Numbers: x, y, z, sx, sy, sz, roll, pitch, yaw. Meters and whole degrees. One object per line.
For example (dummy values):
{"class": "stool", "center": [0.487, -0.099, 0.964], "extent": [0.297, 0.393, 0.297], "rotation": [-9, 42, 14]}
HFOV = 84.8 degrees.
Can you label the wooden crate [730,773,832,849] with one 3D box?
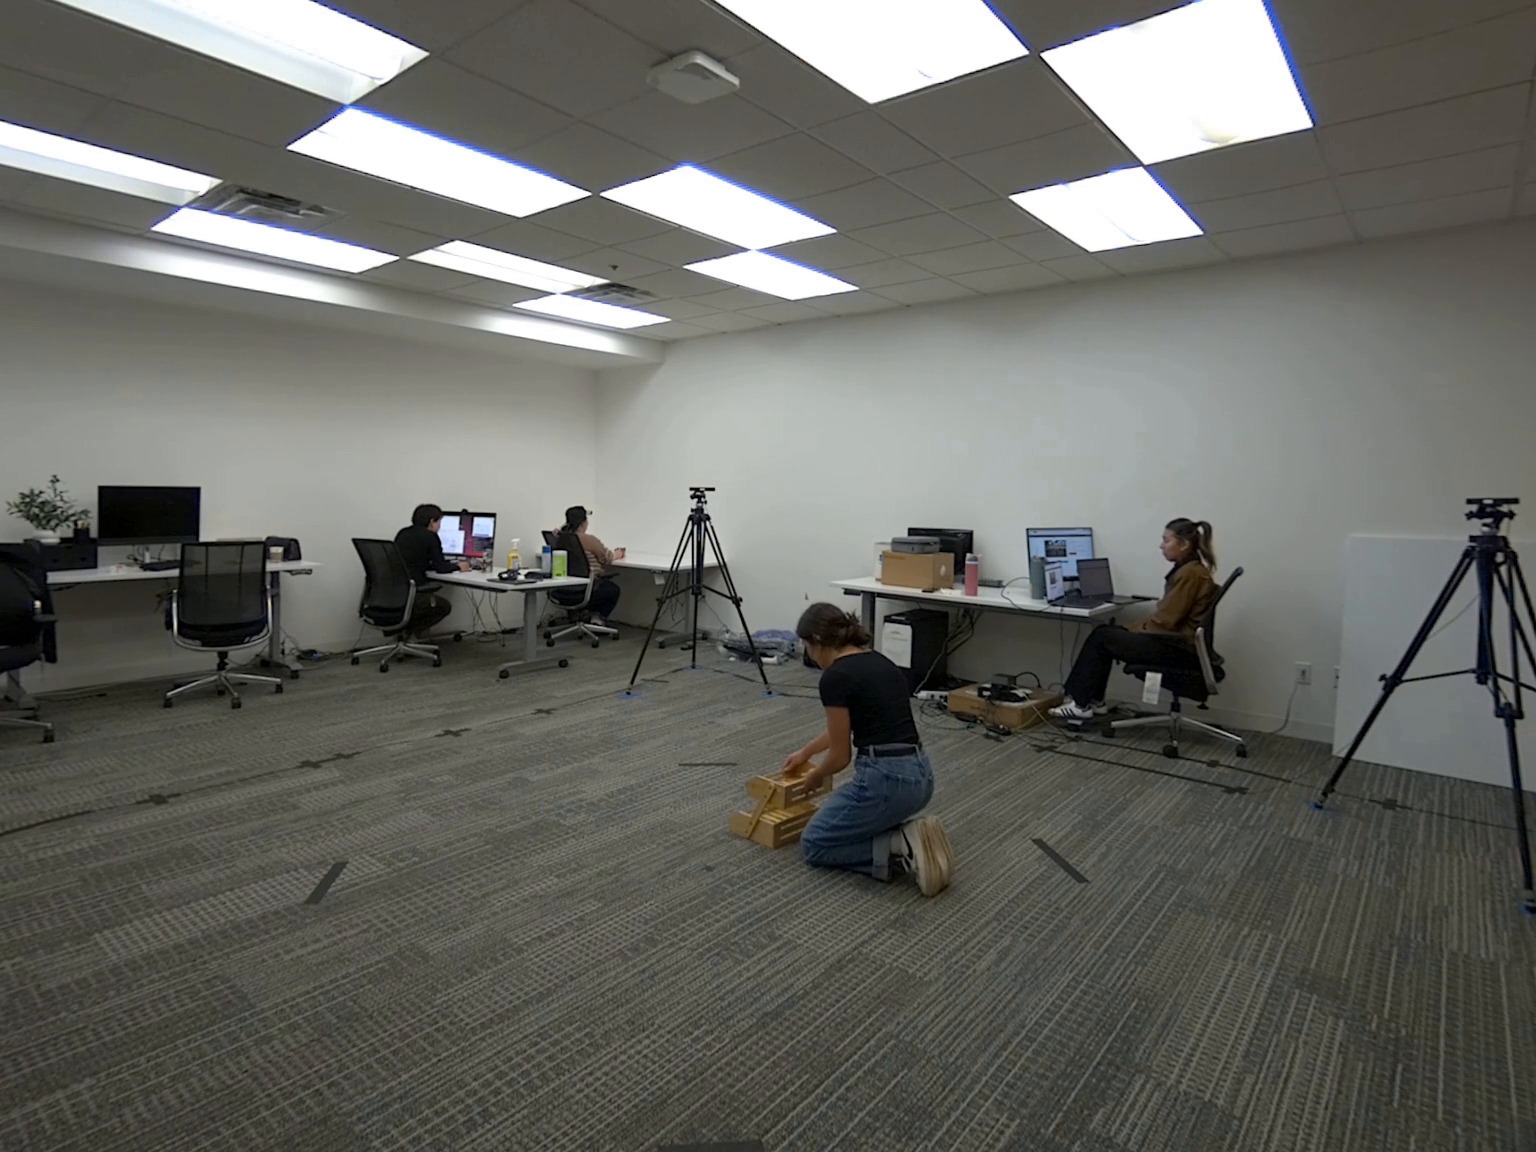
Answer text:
{"class": "wooden crate", "center": [0.040, 0.901, 3.463], "extent": [0.312, 0.272, 0.314], "rotation": [6, 6, 43]}
